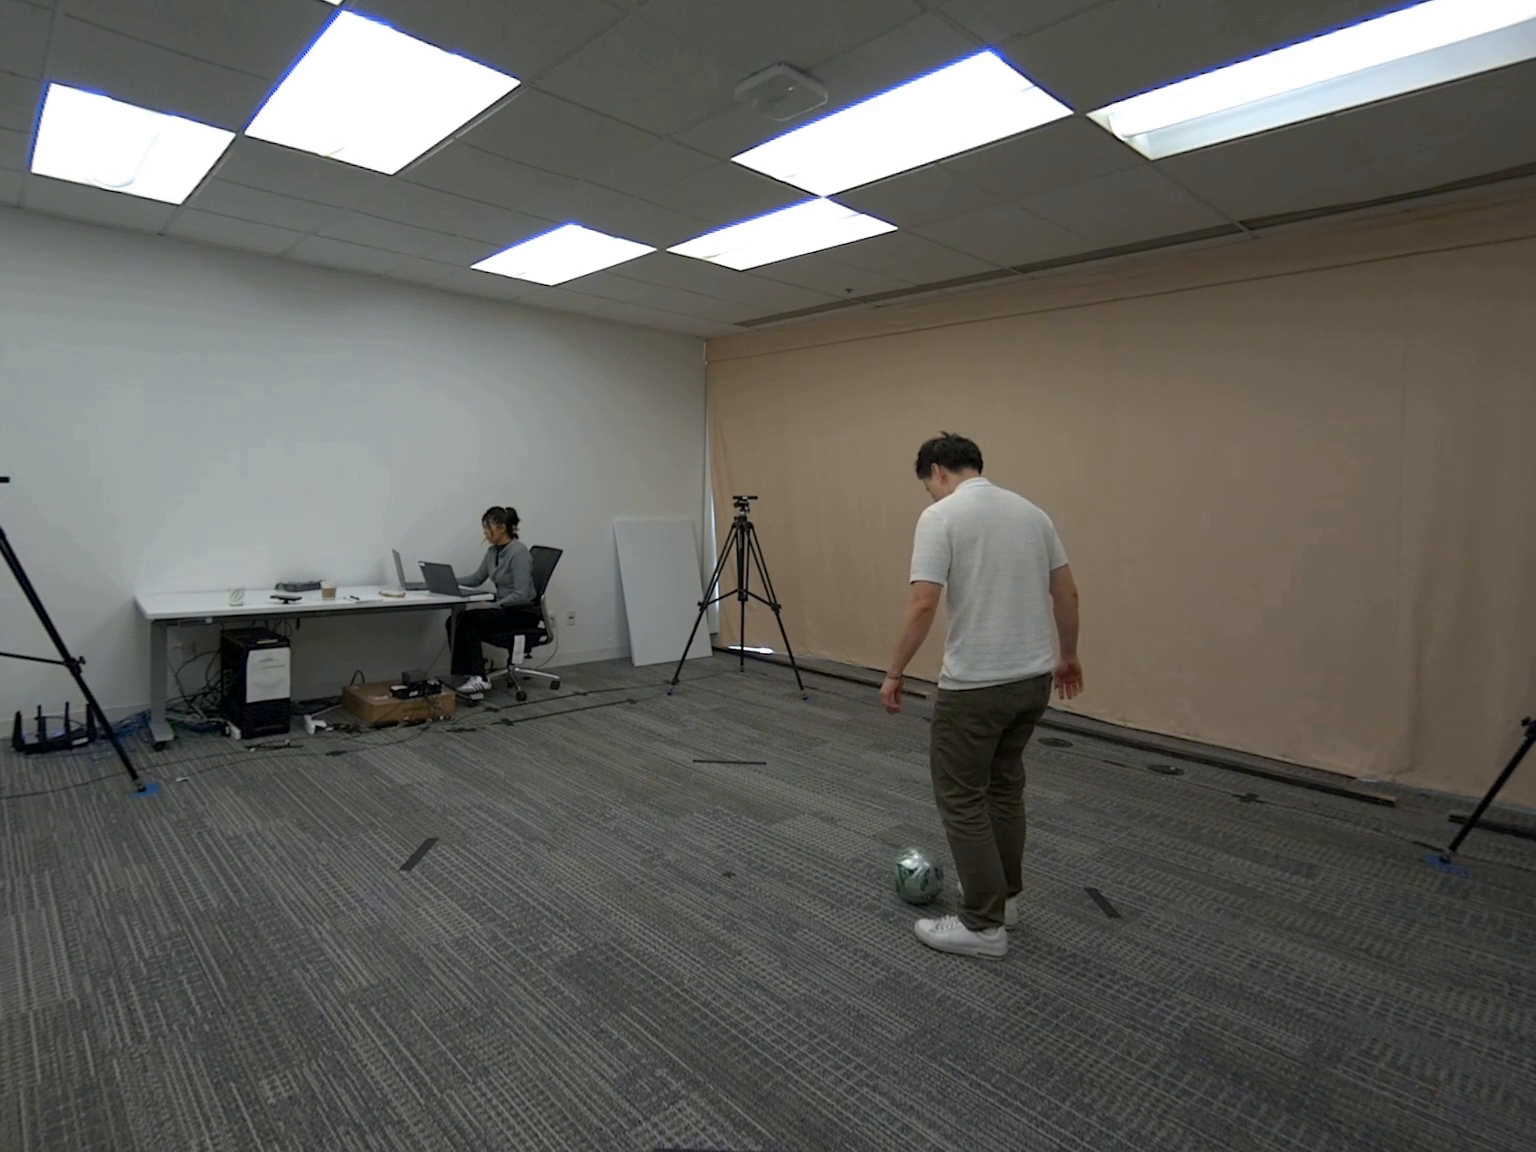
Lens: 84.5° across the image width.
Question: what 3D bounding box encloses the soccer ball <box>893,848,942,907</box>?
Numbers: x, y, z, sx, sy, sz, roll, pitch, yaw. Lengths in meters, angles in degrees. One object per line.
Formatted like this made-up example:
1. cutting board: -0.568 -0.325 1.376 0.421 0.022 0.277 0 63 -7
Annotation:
1. soccer ball: 0.510 1.042 2.933 0.187 0.187 0.188 1 4 -1
